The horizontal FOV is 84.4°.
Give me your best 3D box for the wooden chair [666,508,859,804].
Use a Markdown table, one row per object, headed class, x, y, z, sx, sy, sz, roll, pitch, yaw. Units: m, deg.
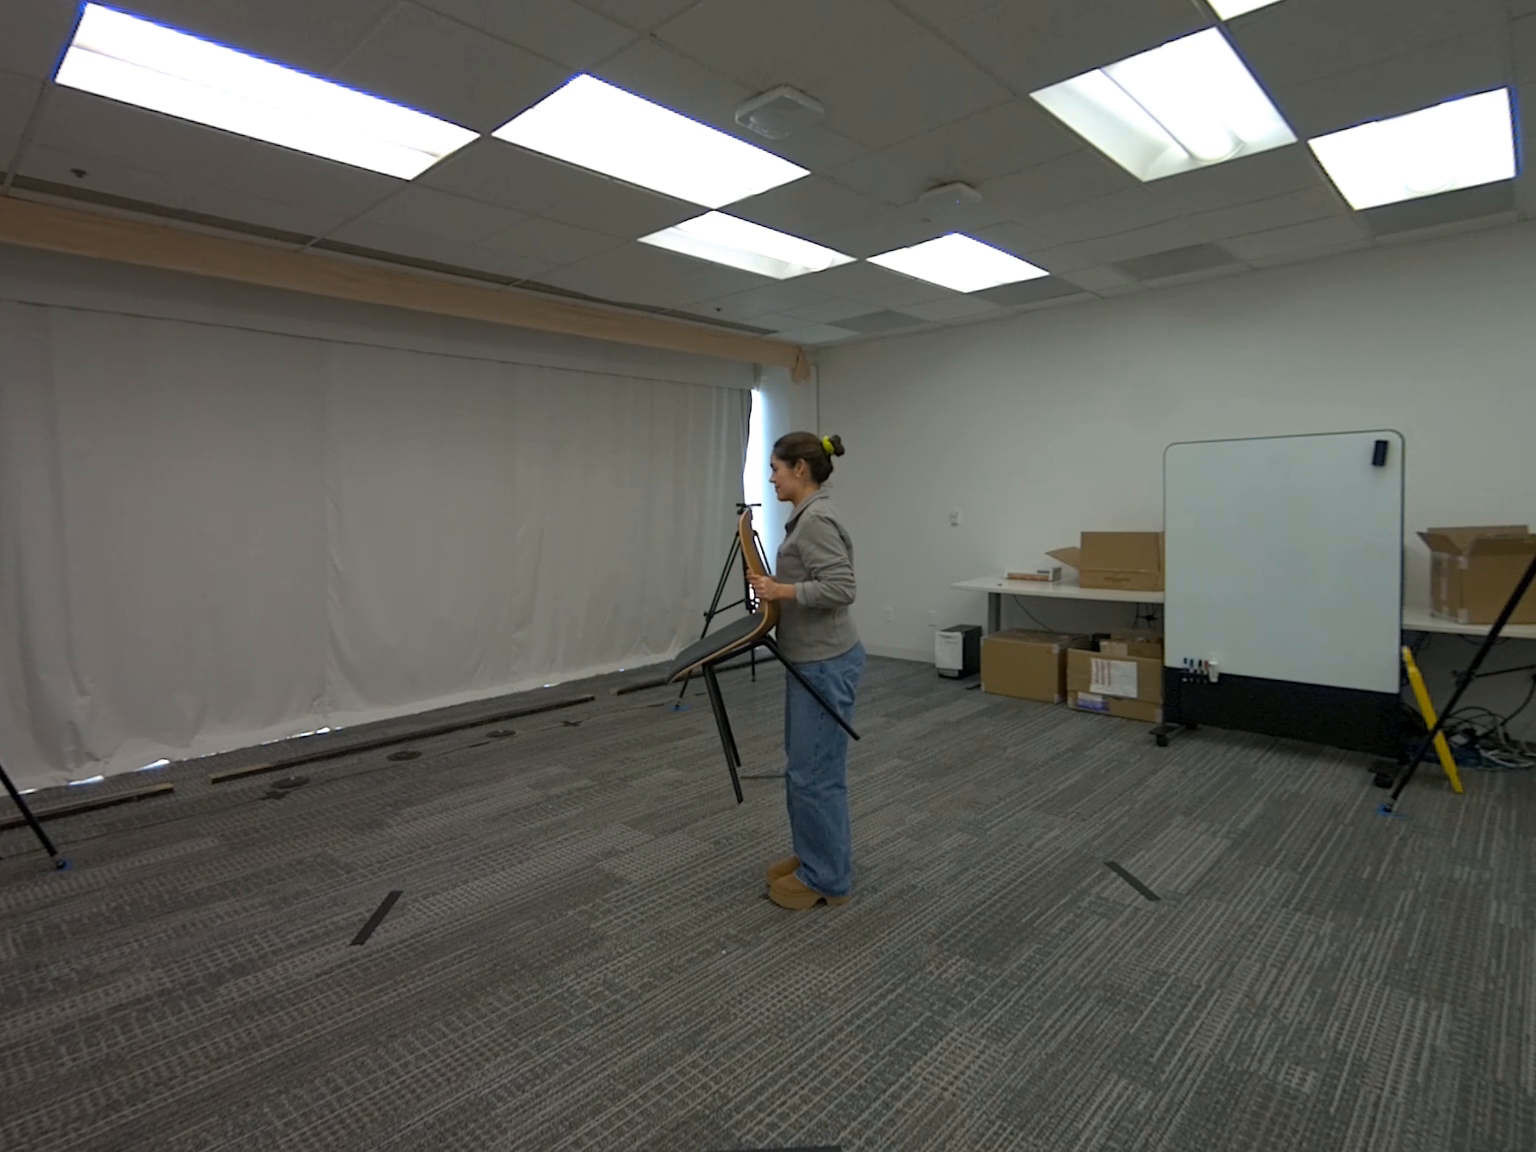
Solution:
| class | x | y | z | sx | sy | sz | roll | pitch | yaw |
| --- | --- | --- | --- | --- | --- | --- | --- | --- | --- |
| wooden chair | -0.116 | 0.266 | 2.967 | 0.523 | 0.875 | 0.479 | -23 | 2 | -1 |
